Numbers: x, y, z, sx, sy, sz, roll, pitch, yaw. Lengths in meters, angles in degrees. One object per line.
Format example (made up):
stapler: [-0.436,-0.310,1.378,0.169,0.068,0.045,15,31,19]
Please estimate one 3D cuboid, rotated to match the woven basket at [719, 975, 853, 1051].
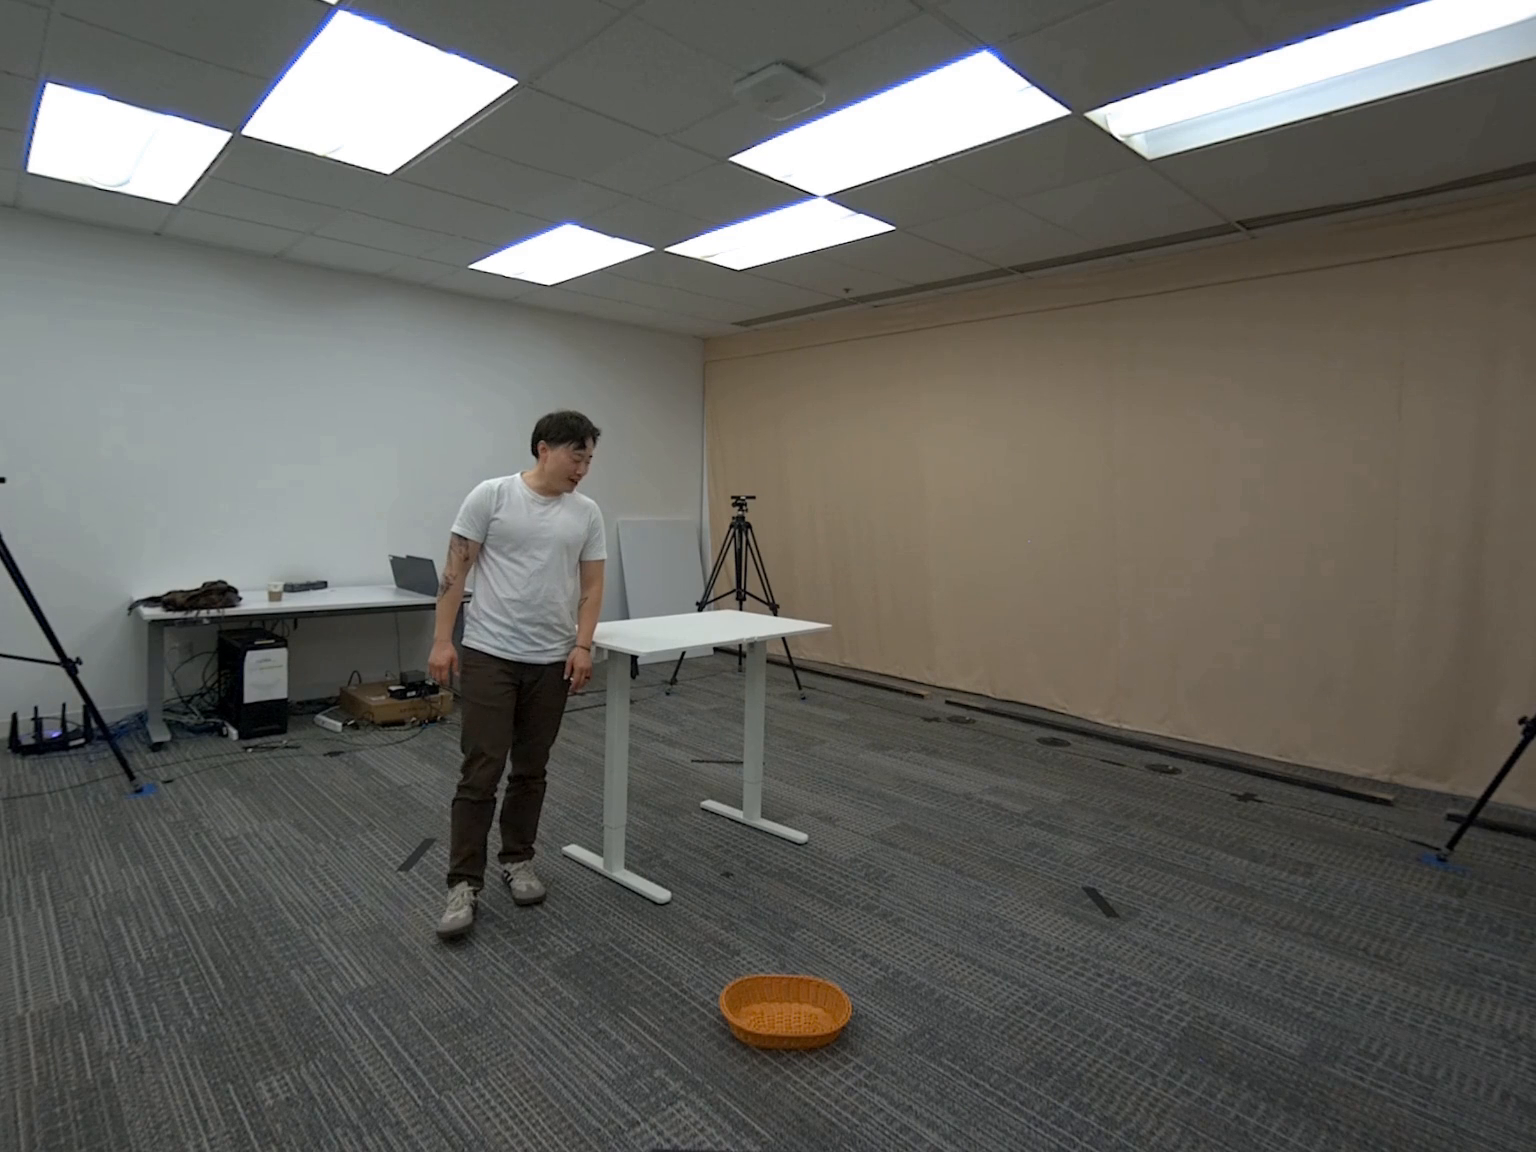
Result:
woven basket: [0.039,1.154,2.208,0.351,0.073,0.253,2,6,3]
